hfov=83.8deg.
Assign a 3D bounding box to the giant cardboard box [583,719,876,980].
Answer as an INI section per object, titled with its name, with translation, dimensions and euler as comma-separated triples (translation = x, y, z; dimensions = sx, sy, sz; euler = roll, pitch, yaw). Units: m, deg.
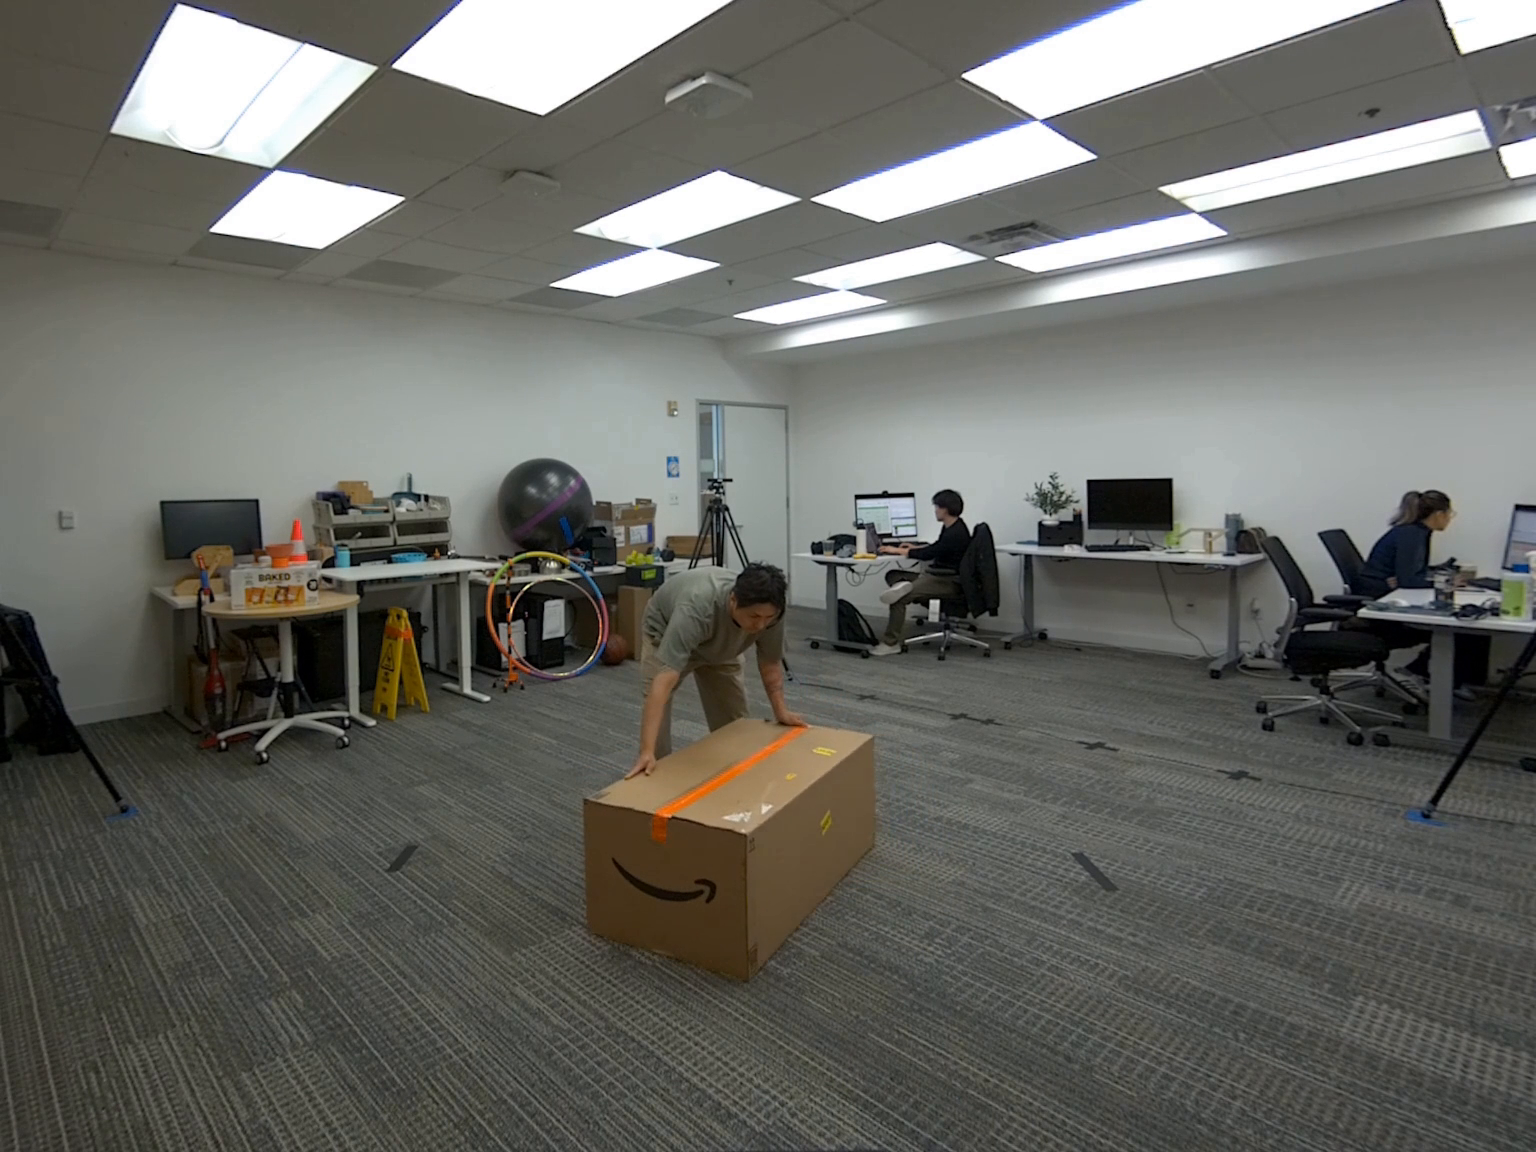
[giant cardboard box]
translation = -0.080, 0.850, 2.936
dimensions = 0.592, 0.424, 1.005
euler = 0, 6, 28
